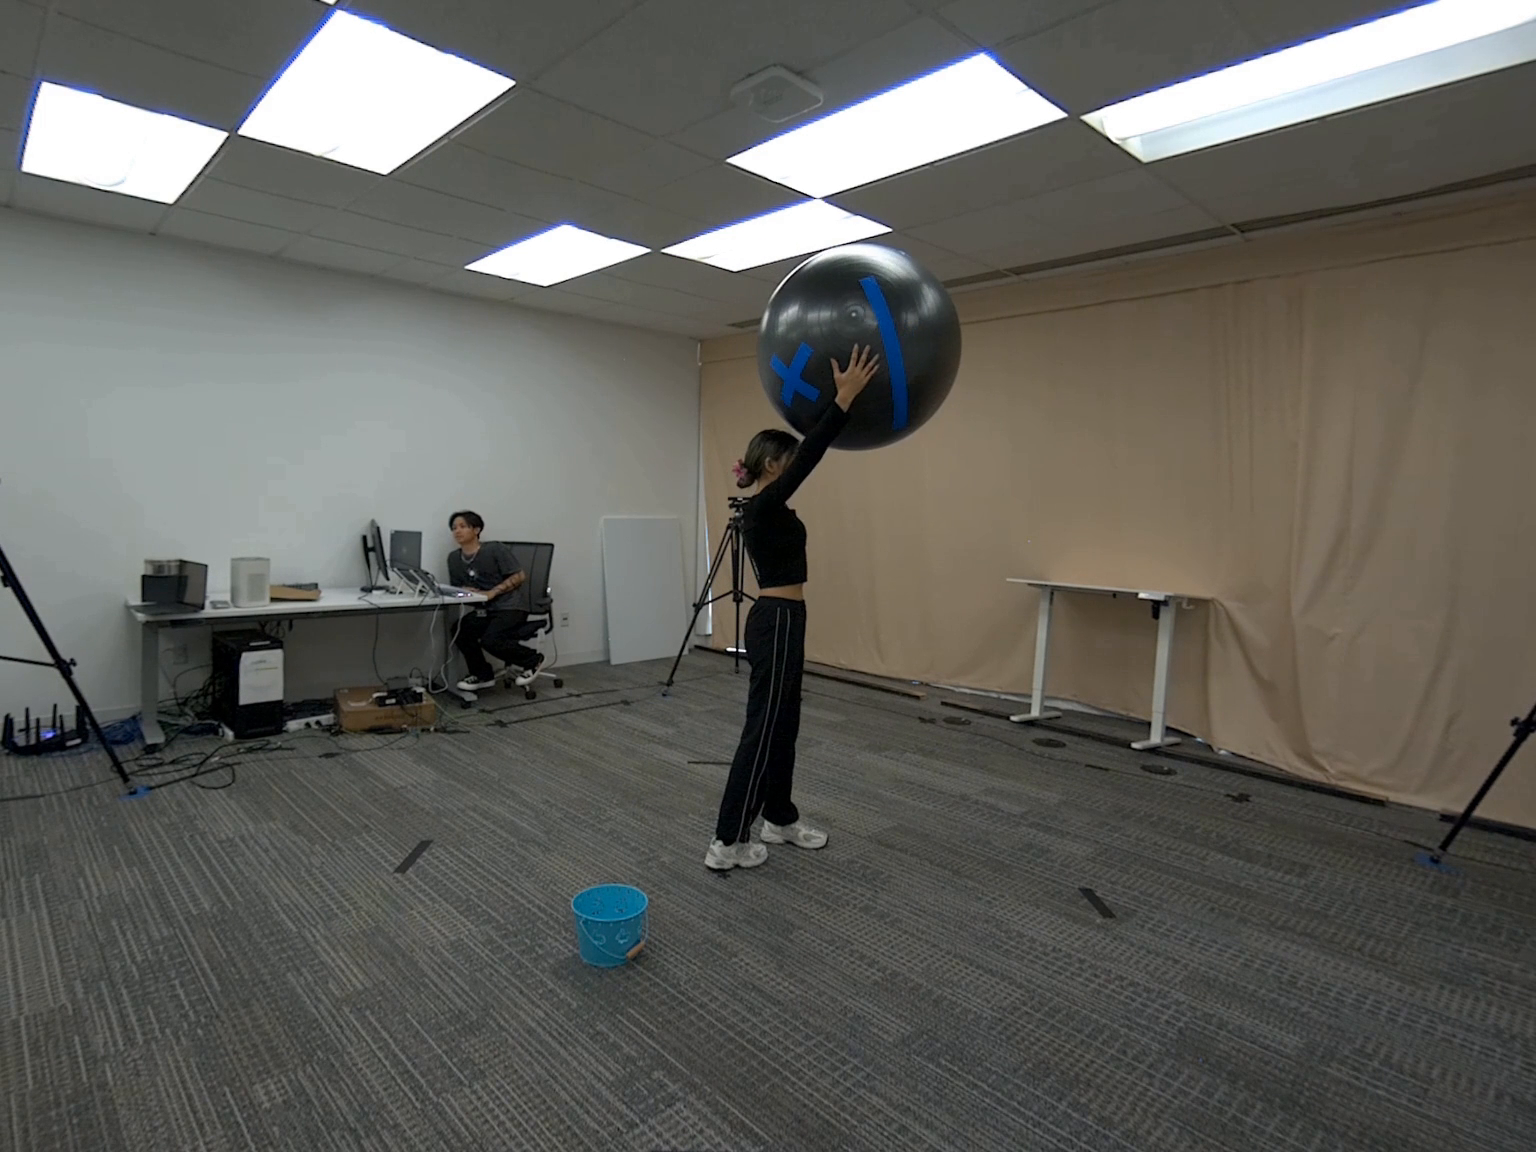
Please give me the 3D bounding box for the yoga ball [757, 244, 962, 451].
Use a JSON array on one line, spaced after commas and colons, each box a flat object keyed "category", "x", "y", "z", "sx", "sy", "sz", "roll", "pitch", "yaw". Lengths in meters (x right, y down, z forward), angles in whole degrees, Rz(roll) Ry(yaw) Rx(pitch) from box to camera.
[{"category": "yoga ball", "x": 0.331, "y": -0.847, "z": 3.179, "sx": 0.757, "sy": 0.756, "sz": 0.761, "roll": 1, "pitch": 4, "yaw": -1}]
